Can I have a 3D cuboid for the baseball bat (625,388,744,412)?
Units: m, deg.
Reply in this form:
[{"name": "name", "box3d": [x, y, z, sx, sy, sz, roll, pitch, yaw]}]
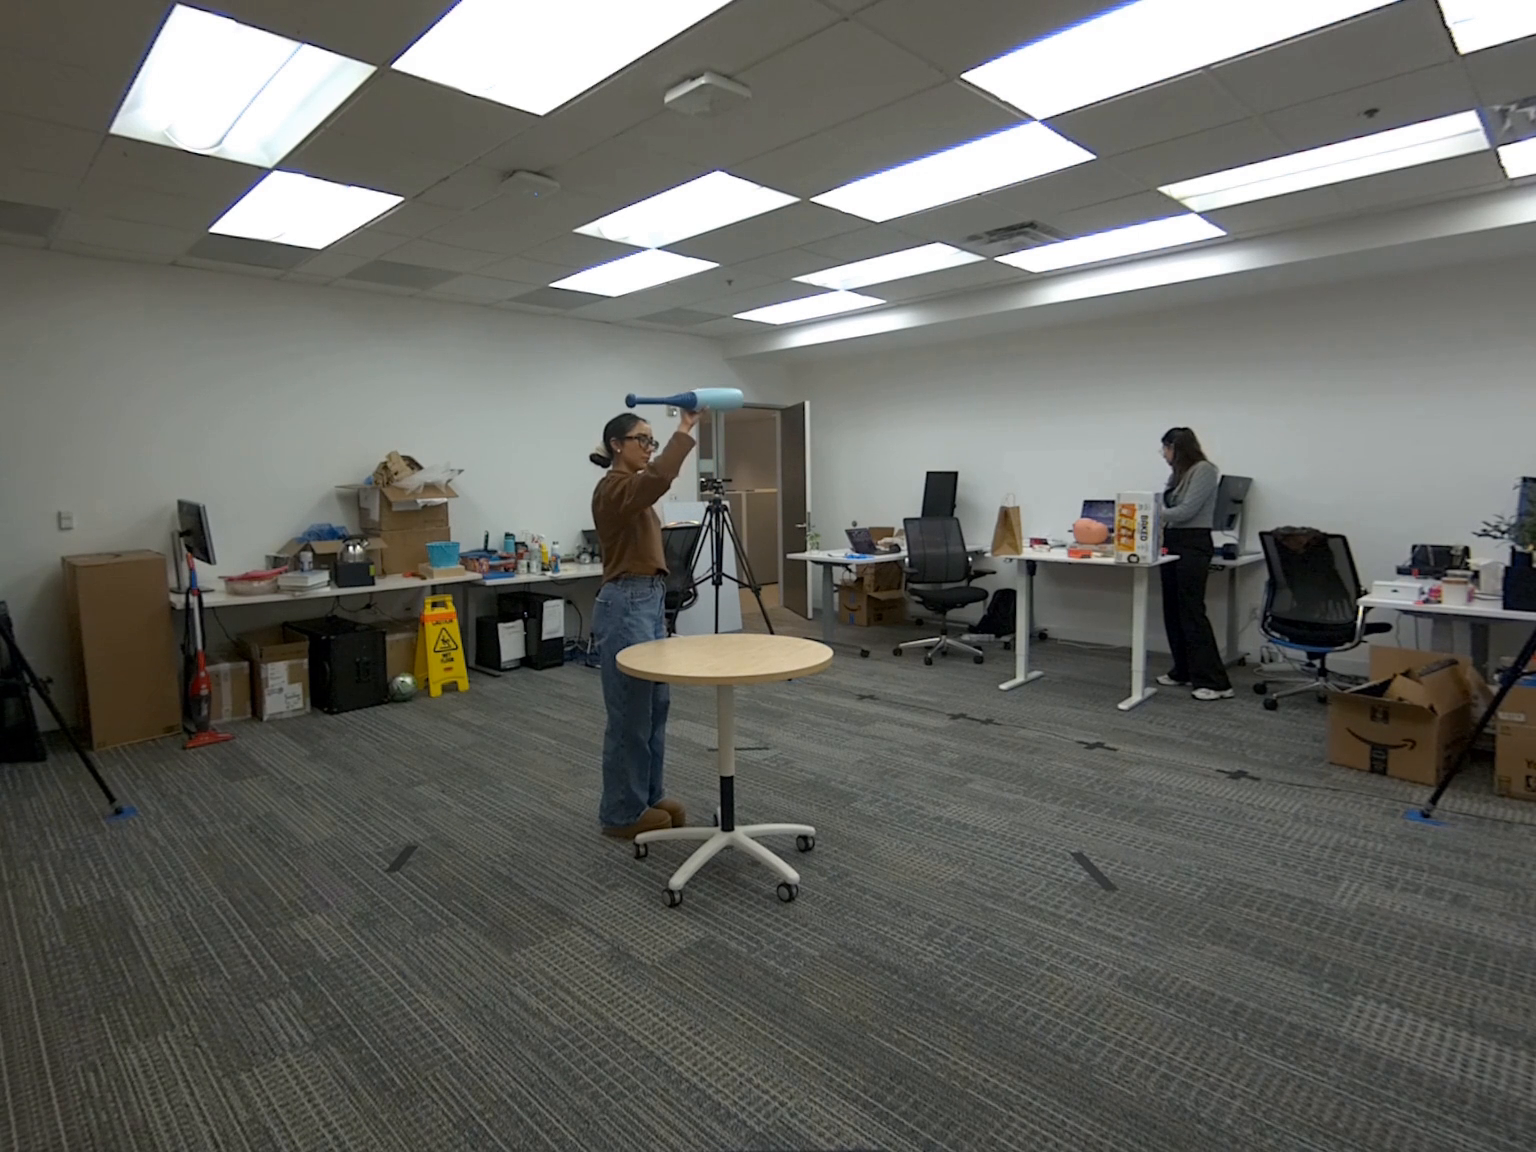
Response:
[{"name": "baseball bat", "box3d": [-0.294, -0.642, 3.120, 0.092, 0.088, 0.530, 3, 11, 43]}]
